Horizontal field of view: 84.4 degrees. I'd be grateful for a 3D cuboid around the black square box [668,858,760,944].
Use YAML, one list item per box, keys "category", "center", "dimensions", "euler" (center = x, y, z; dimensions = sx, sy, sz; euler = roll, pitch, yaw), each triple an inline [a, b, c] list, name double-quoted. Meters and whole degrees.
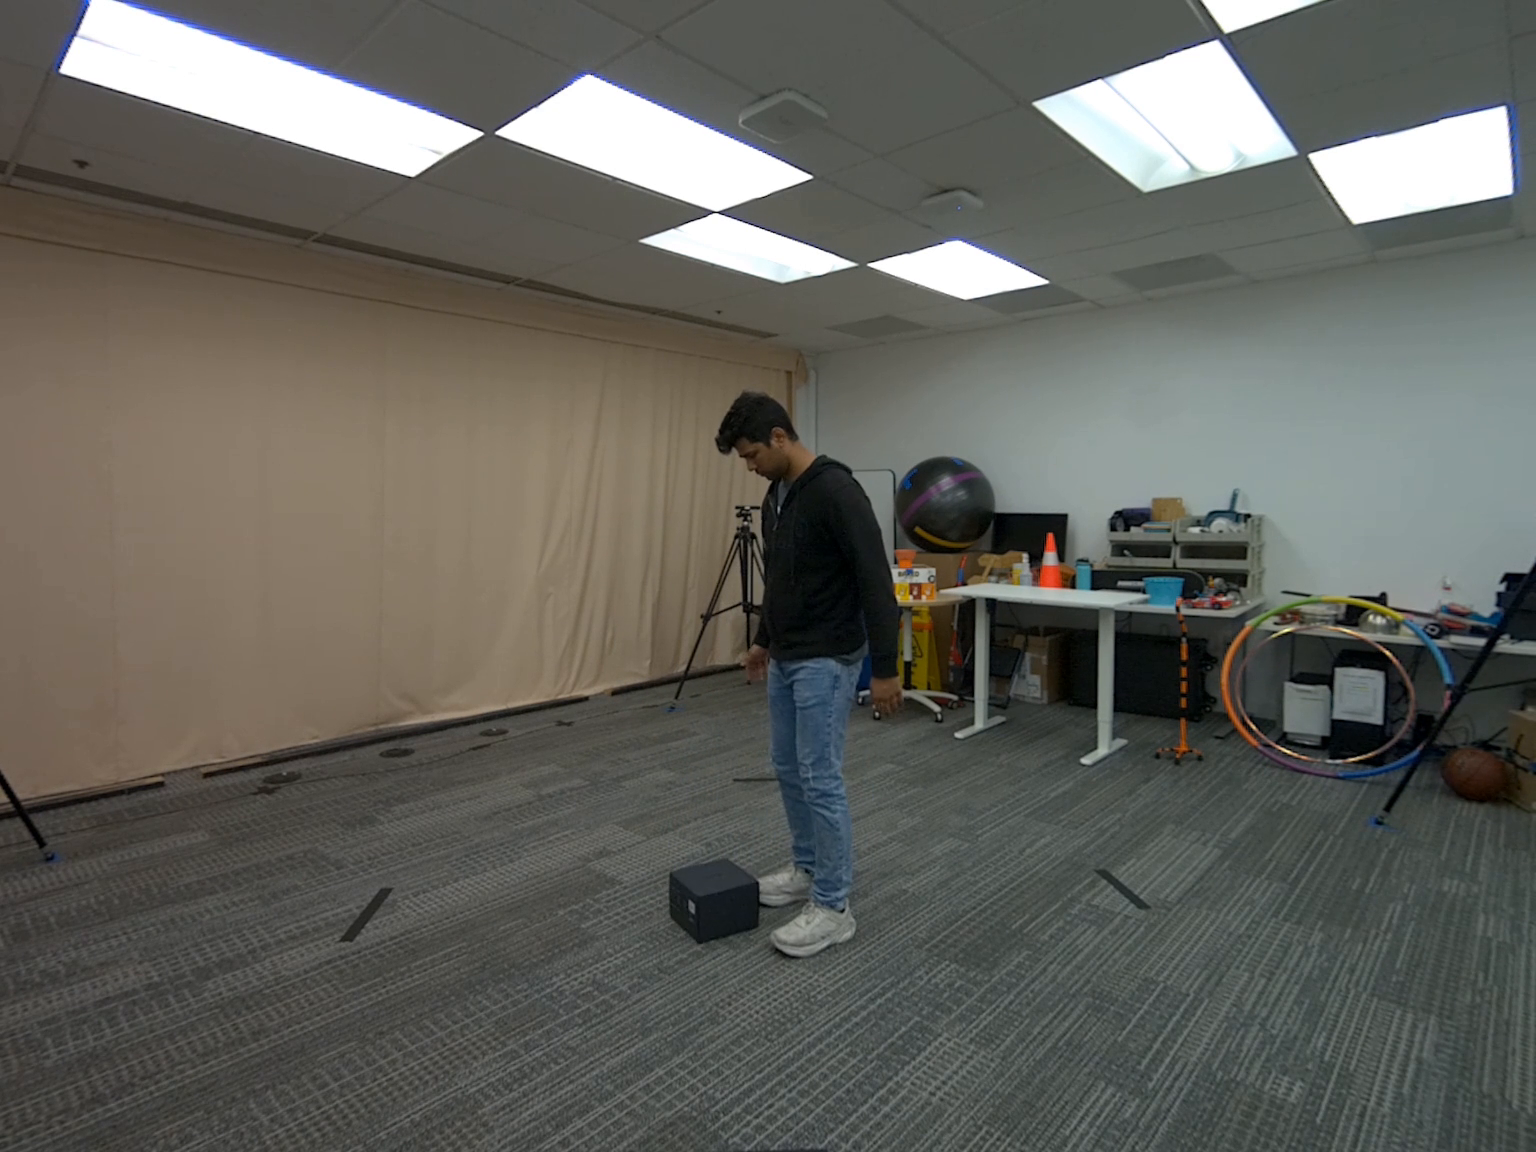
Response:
- category: "black square box"
  center: [-0.168, 1.077, 2.800]
  dimensions: [0.221, 0.156, 0.223]
  euler: [-2, 3, -32]
